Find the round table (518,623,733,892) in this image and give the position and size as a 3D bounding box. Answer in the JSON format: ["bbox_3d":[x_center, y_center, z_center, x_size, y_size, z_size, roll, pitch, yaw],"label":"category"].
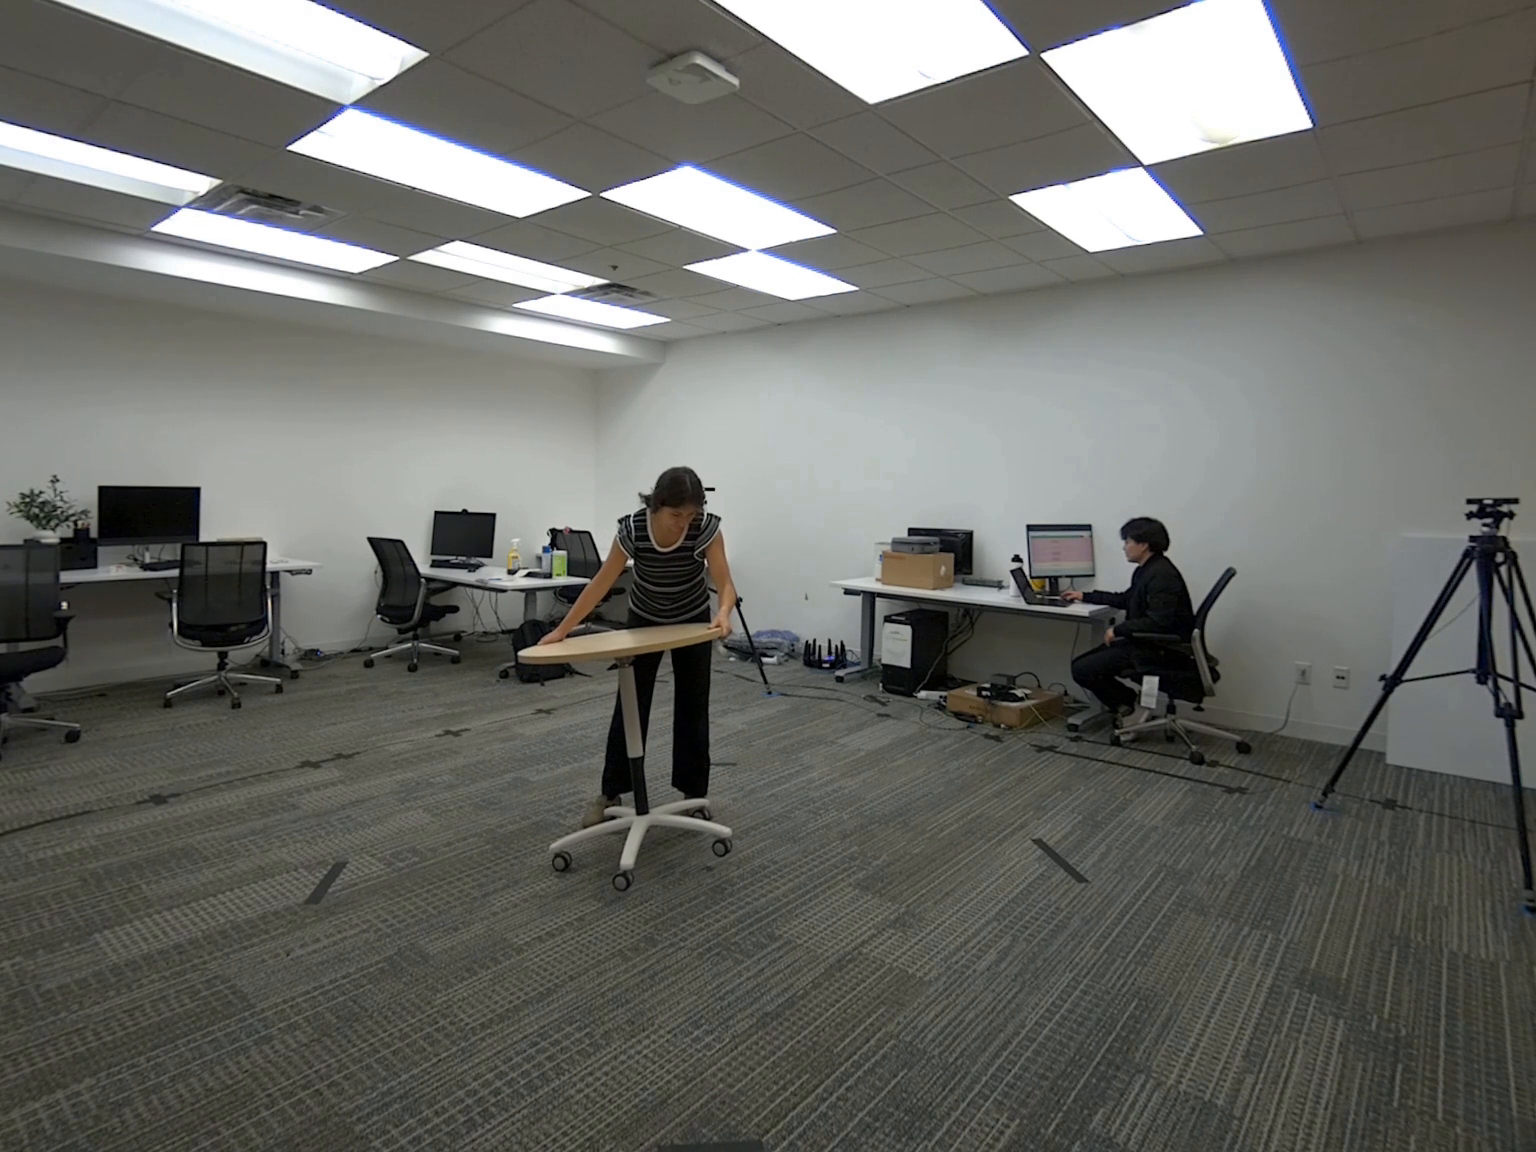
[{"bbox_3d":[-0.498,0.623,3.168,0.784,0.786,0.786,-6,1,-2],"label":"round table"}]
